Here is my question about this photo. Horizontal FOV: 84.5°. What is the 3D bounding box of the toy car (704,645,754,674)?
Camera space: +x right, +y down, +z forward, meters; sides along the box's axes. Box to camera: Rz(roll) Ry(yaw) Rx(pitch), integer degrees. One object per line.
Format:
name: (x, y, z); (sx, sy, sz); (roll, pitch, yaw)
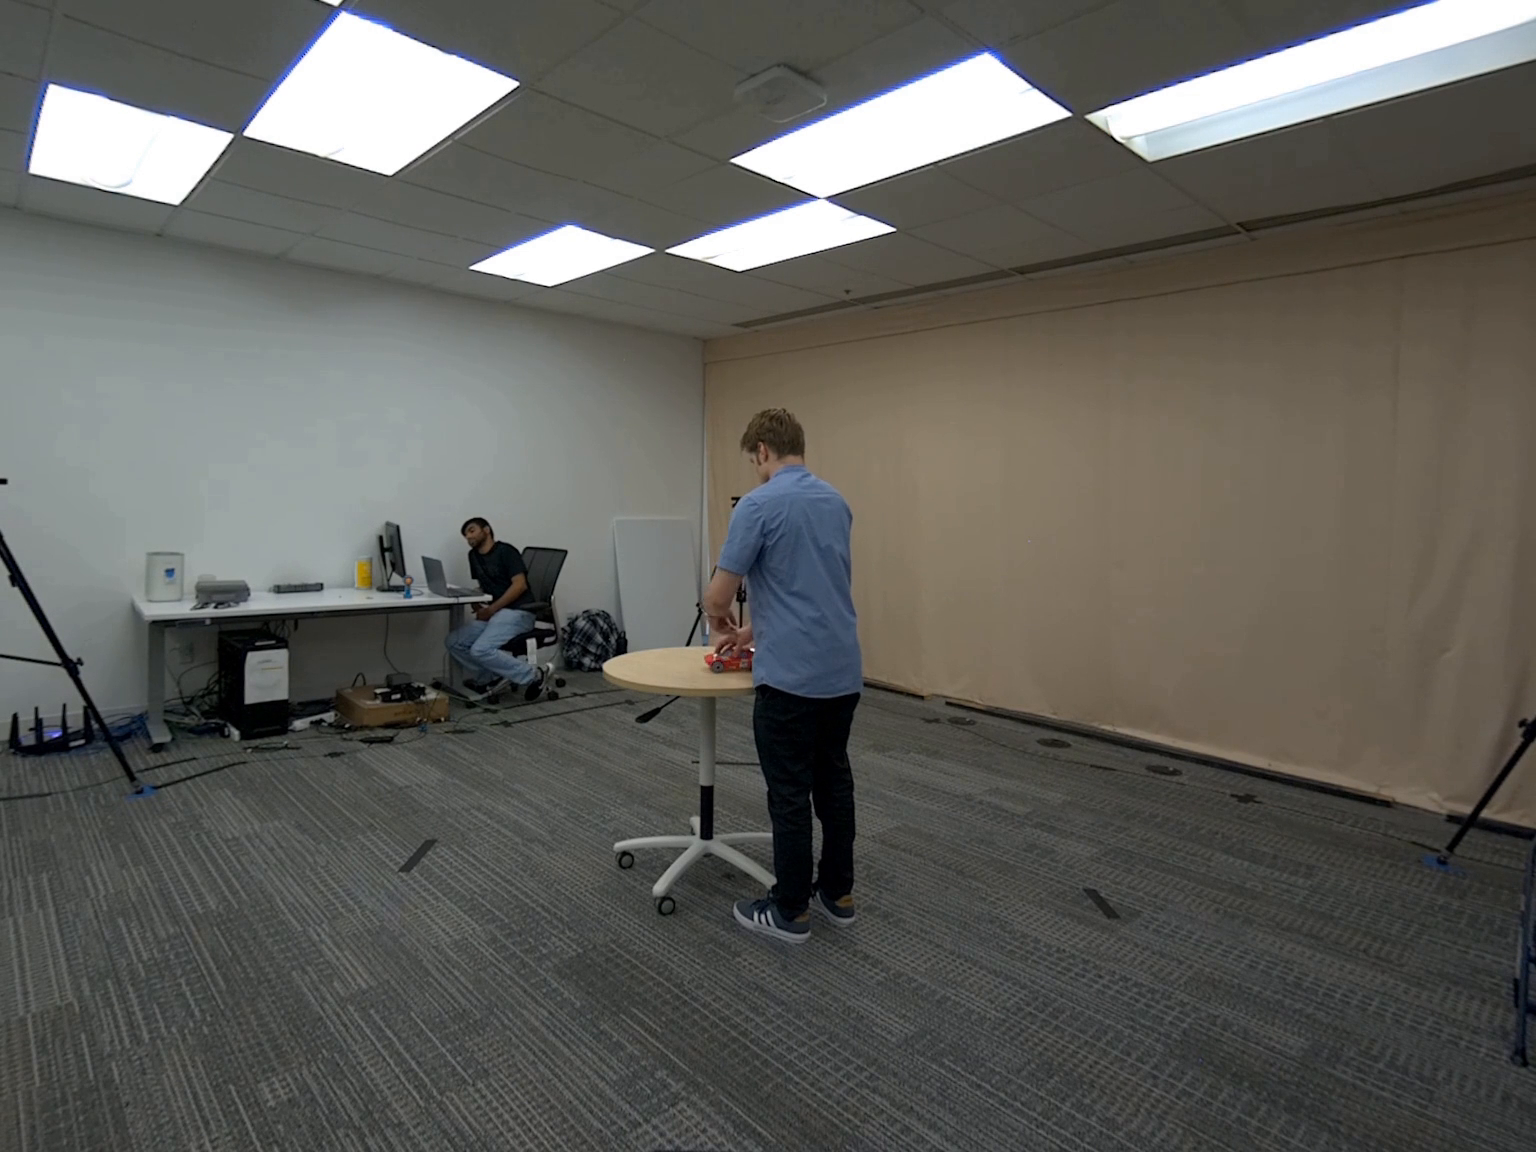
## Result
toy car: (-0.103, 0.303, 2.995); (0.253, 0.083, 0.132); (-12, 8, -10)
